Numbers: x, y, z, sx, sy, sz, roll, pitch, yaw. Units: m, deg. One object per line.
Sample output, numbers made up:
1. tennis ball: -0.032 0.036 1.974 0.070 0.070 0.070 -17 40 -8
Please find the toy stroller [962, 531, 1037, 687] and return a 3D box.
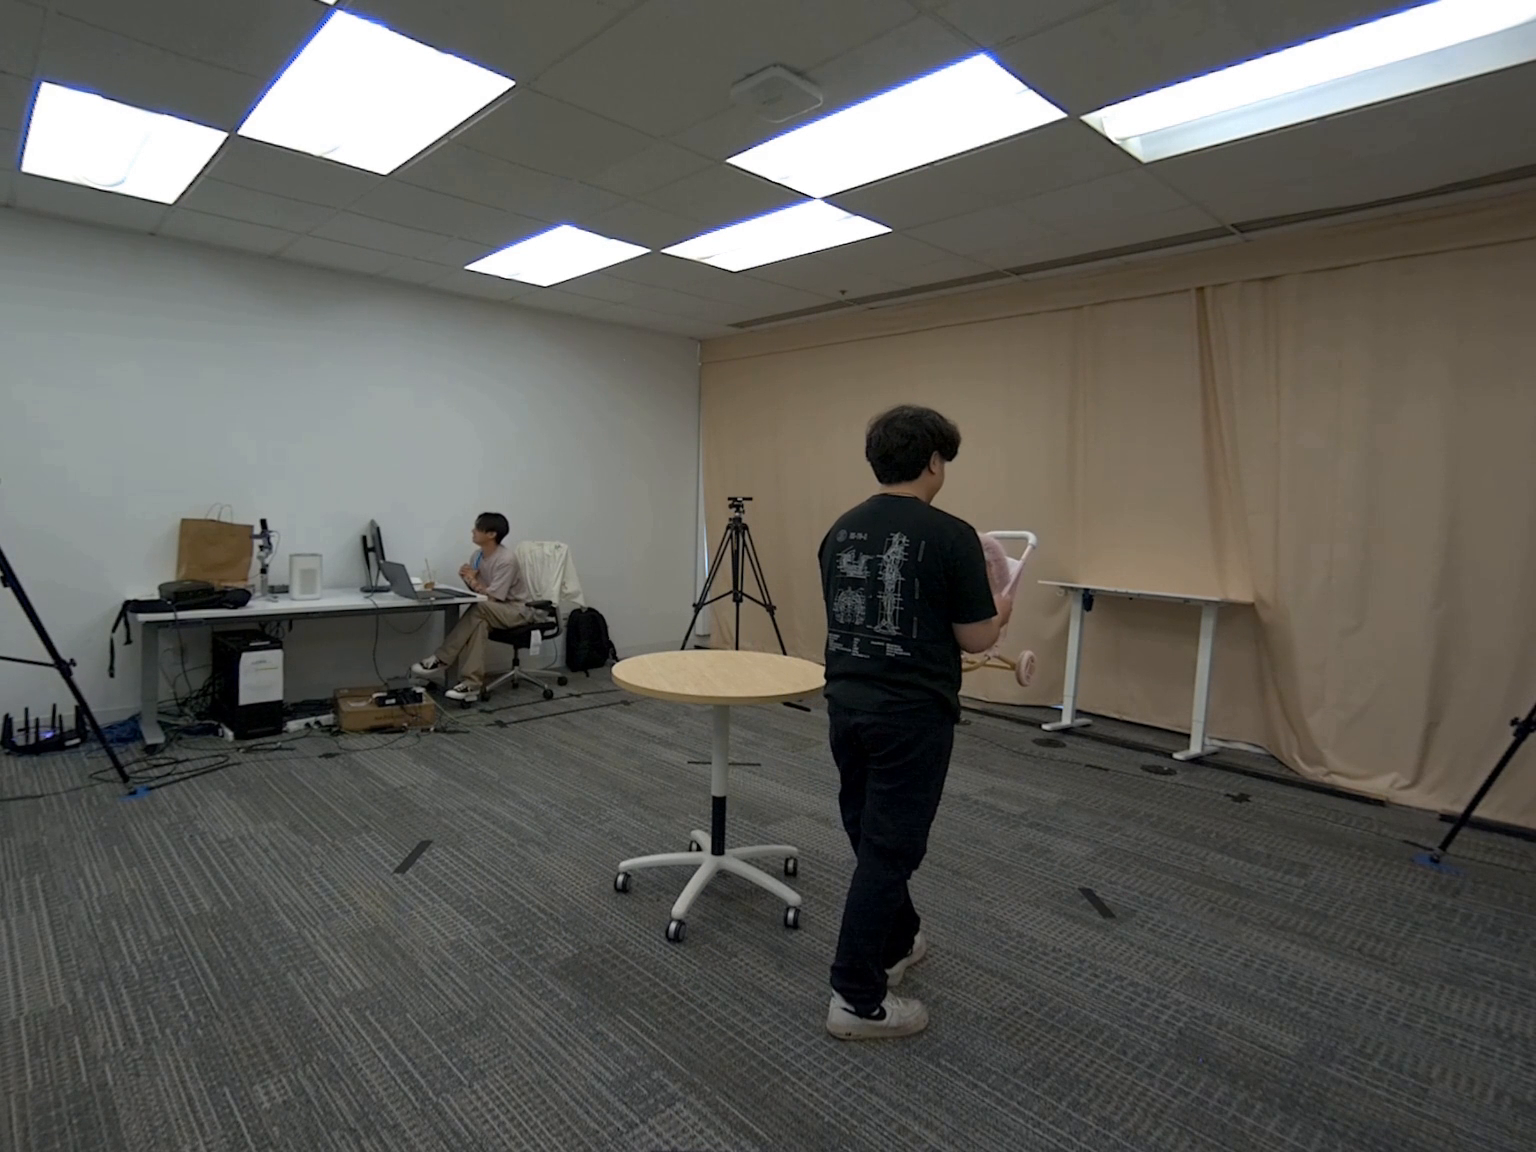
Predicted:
1. toy stroller: 0.630 0.110 2.563 0.332 0.535 0.289 9 -2 -41
